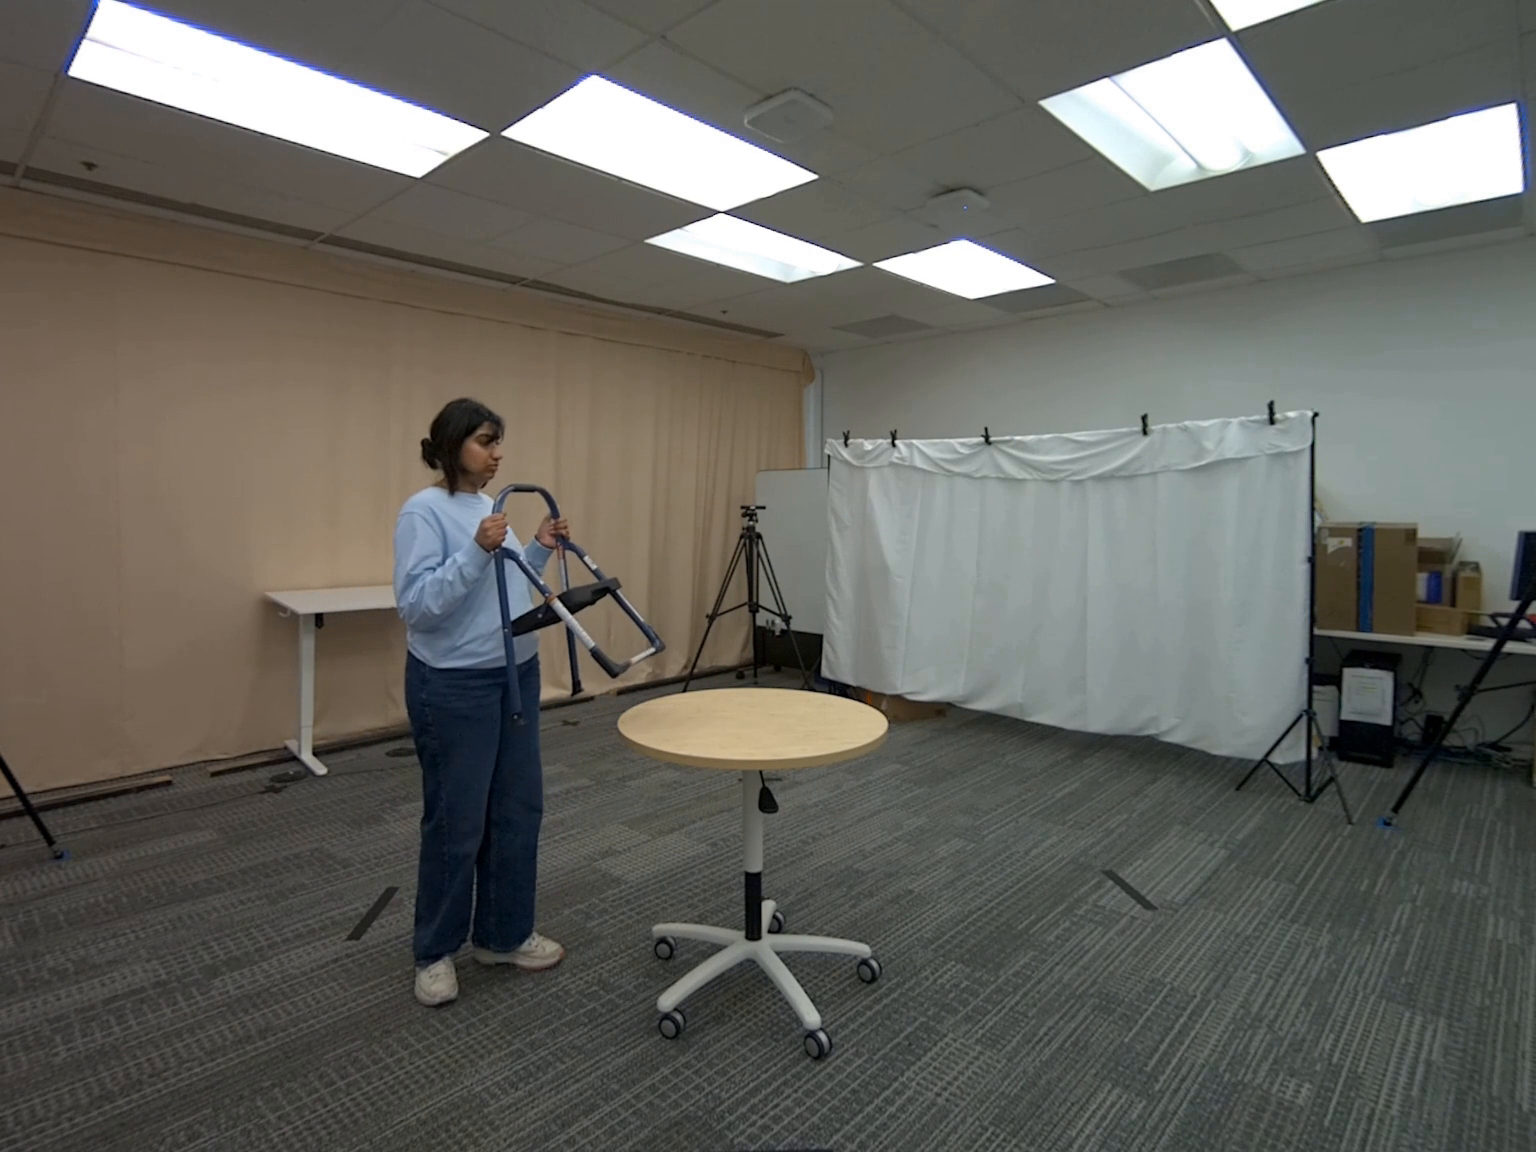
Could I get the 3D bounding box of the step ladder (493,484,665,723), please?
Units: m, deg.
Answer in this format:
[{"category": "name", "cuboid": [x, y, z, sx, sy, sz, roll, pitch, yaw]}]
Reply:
[{"category": "step ladder", "cuboid": [-0.622, 0.049, 2.408, 0.352, 0.608, 0.425, -27, -3, 12]}]
